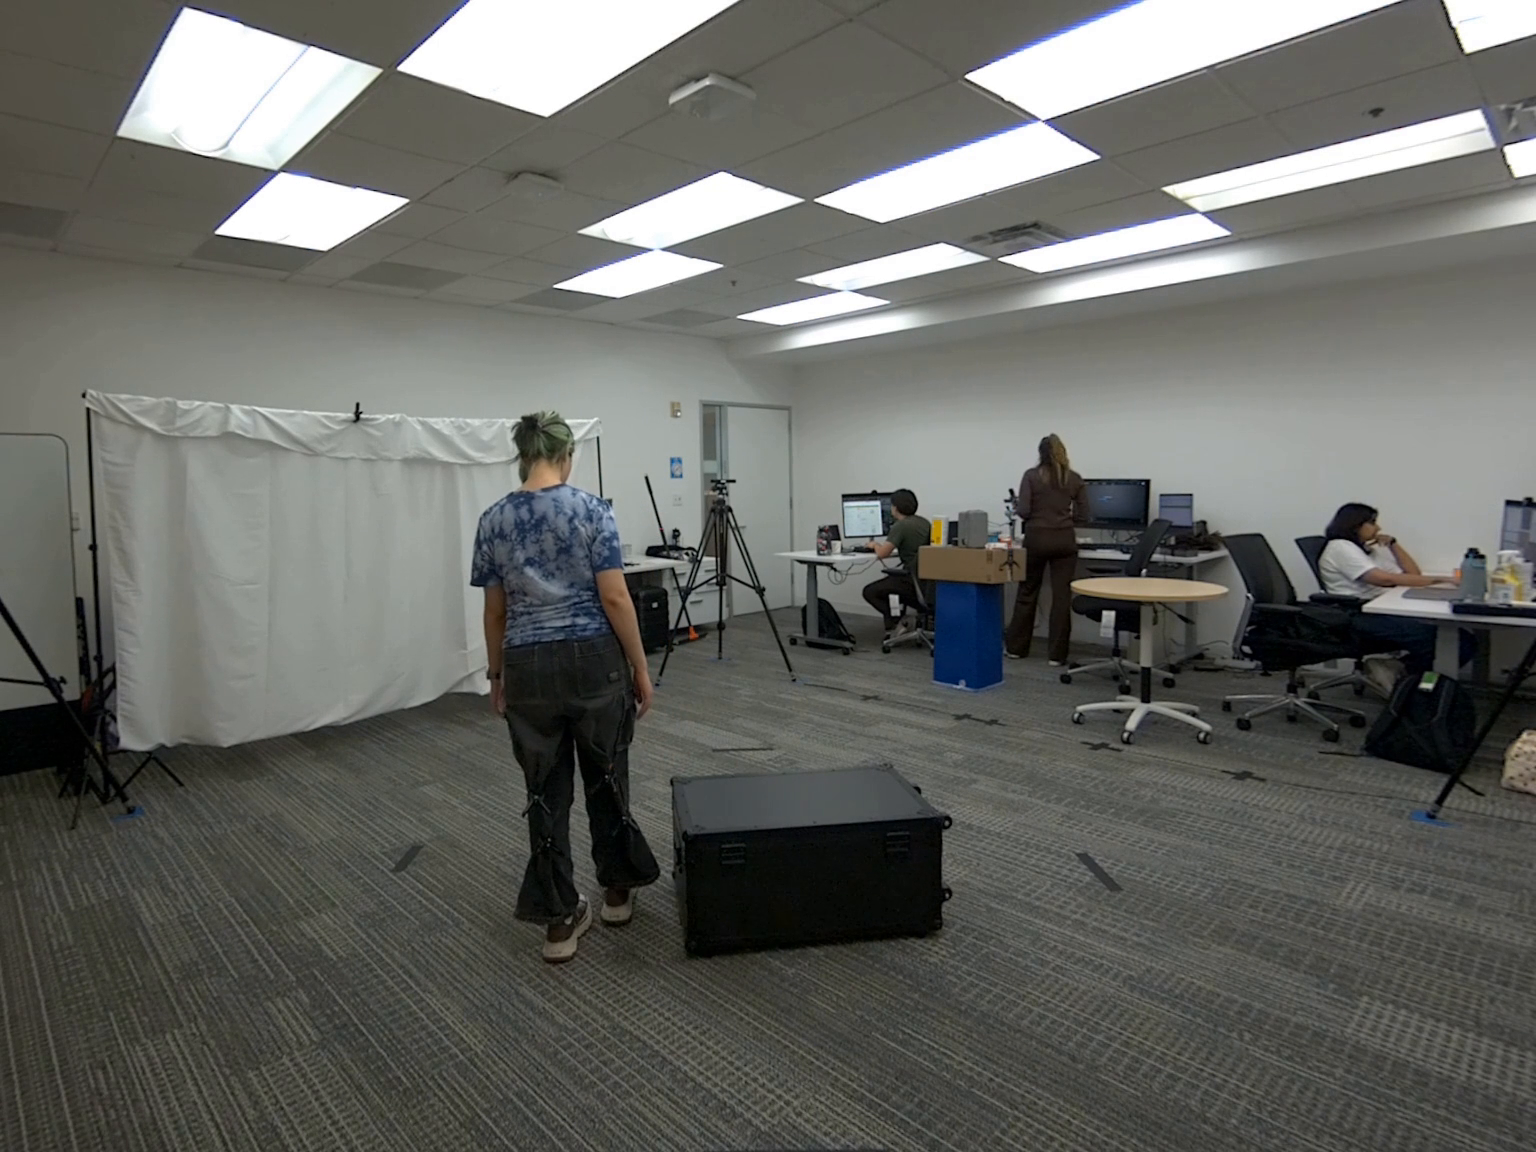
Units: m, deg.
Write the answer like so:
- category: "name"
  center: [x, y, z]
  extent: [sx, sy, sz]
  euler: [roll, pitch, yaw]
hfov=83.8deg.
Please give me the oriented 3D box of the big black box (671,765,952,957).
- category: "big black box"
  center: [0.073, 0.892, 2.764]
  extent: [0.855, 0.395, 0.528]
  euler: [-2, 5, -9]
